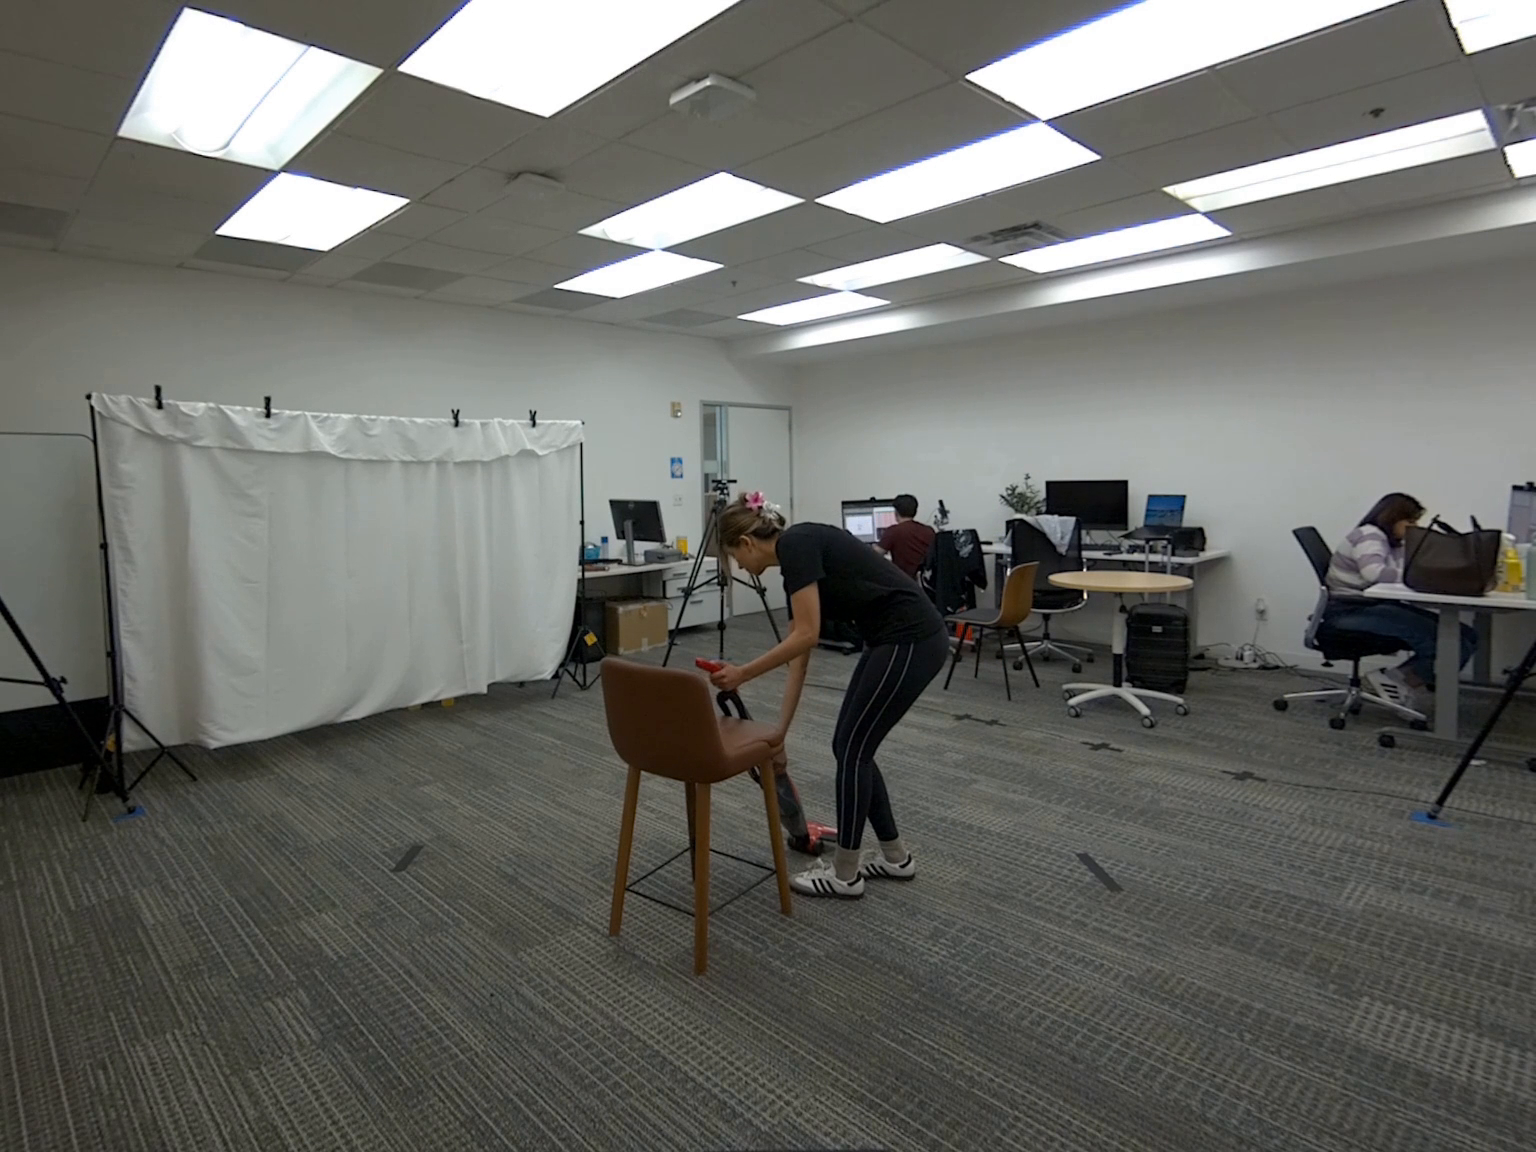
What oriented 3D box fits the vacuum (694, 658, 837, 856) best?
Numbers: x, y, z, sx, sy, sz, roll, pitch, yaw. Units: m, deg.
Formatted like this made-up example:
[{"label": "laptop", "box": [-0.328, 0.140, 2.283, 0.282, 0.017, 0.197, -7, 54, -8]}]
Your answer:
[{"label": "vacuum", "box": [-0.021, 0.635, 2.972, 0.260, 1.013, 0.145, 4, 47, 38]}]
